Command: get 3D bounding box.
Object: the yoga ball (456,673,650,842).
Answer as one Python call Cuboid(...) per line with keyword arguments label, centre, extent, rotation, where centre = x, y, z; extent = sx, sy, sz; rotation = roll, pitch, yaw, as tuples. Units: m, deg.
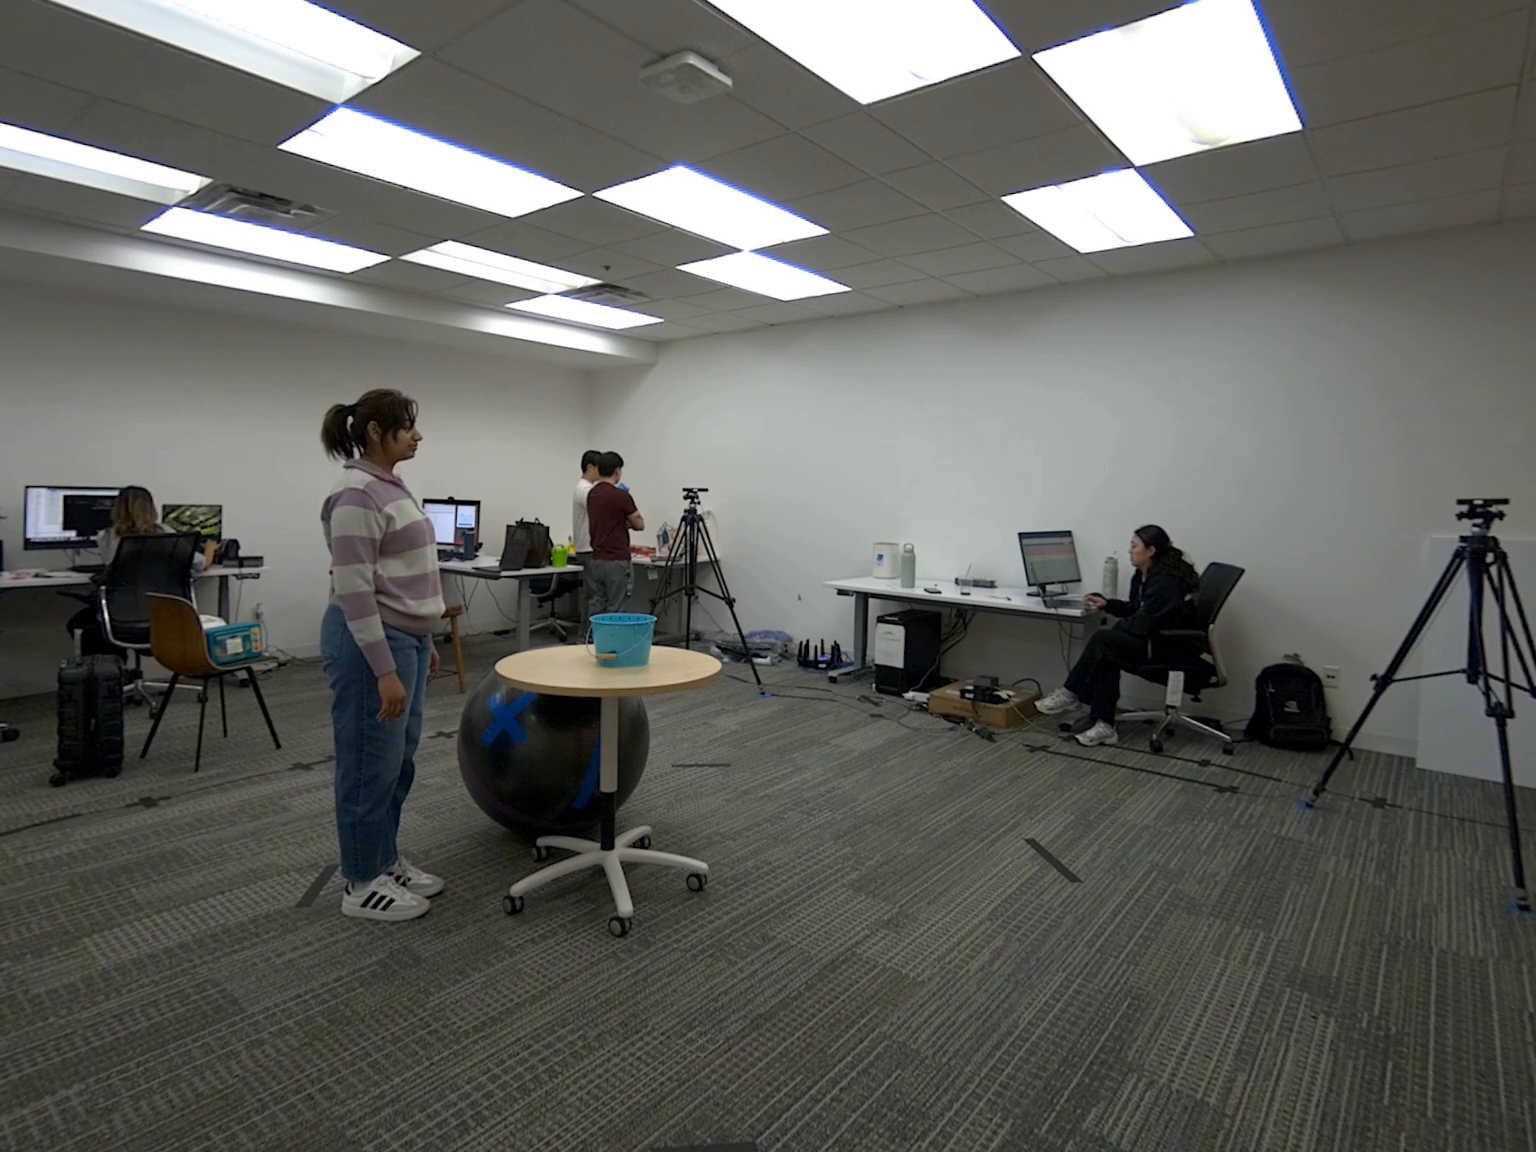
Cuboid(label="yoga ball", centre=(-0.874, 0.657, 3.440), extent=(0.757, 0.755, 0.762), rotation=(1, 4, -2))
